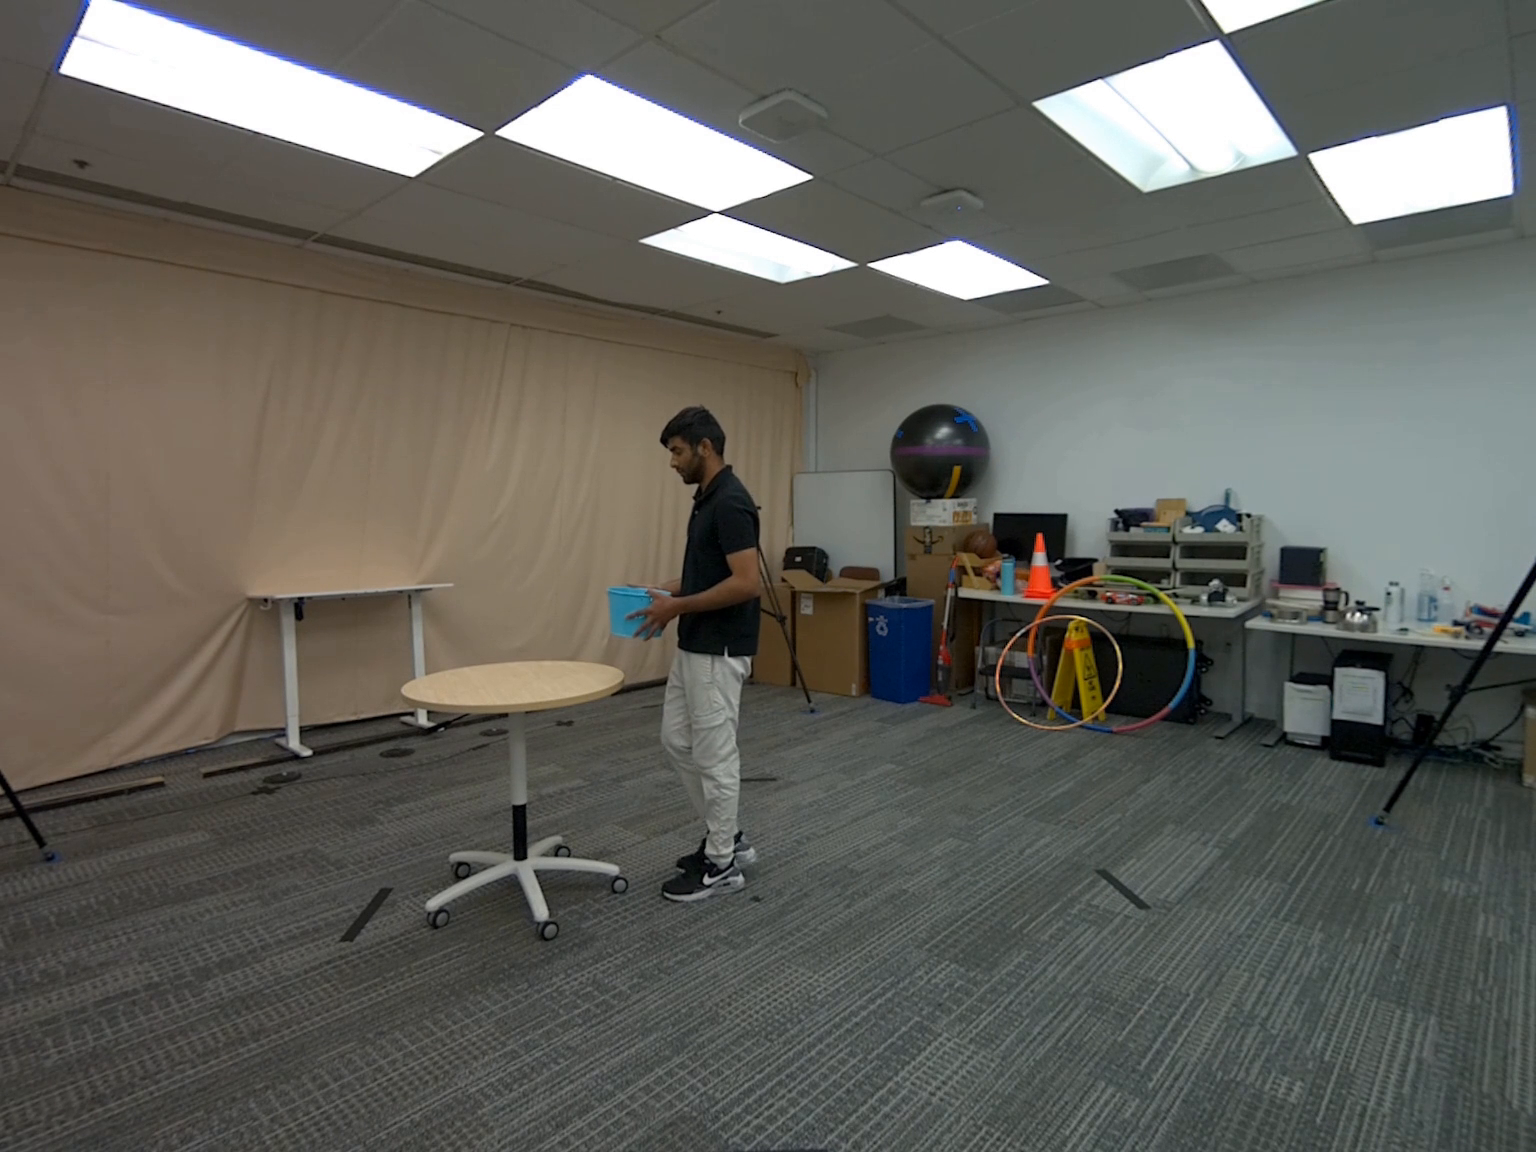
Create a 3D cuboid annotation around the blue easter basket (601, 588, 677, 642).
[{"bbox_3d":[-0.444,0.130,2.963,0.243,0.156,0.244,1,2,-2],"label":"blue easter basket"}]
